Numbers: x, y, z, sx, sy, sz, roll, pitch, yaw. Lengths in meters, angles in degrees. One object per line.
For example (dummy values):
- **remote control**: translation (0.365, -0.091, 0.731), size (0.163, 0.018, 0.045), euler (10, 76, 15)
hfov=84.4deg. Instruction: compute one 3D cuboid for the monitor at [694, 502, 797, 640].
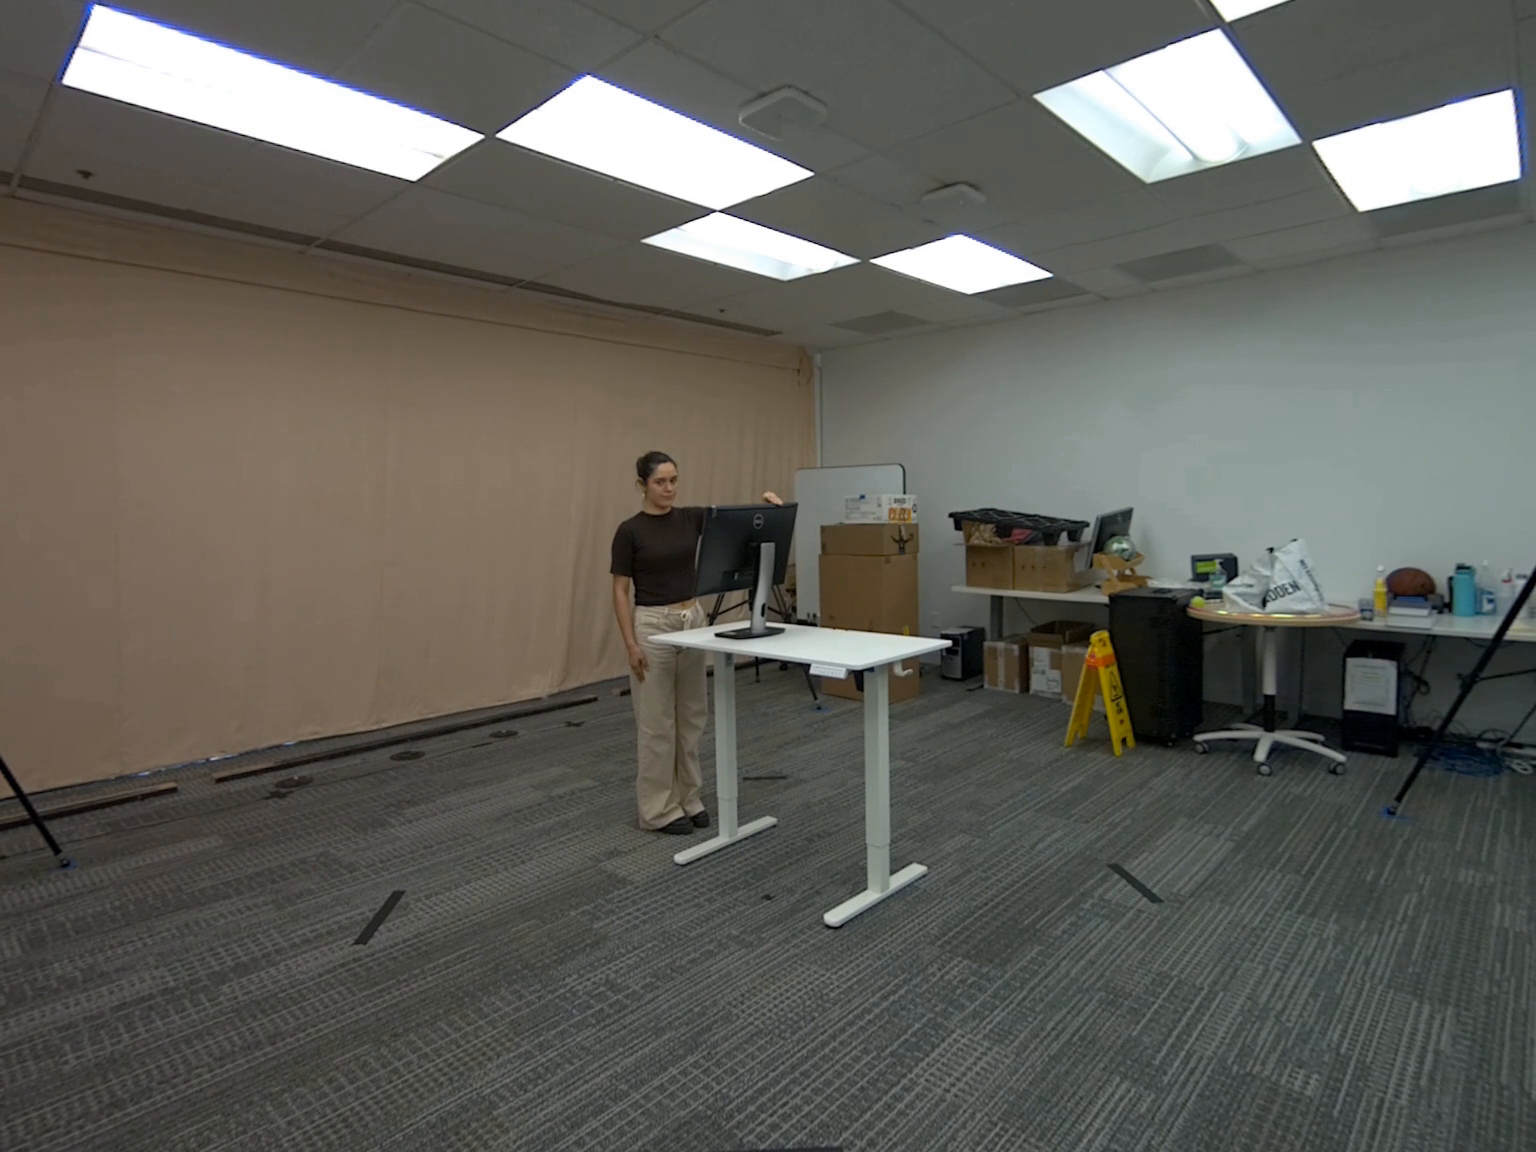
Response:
- **monitor**: translation (-0.056, -0.018, 3.306), size (0.193, 0.521, 0.523), euler (5, 7, 40)
